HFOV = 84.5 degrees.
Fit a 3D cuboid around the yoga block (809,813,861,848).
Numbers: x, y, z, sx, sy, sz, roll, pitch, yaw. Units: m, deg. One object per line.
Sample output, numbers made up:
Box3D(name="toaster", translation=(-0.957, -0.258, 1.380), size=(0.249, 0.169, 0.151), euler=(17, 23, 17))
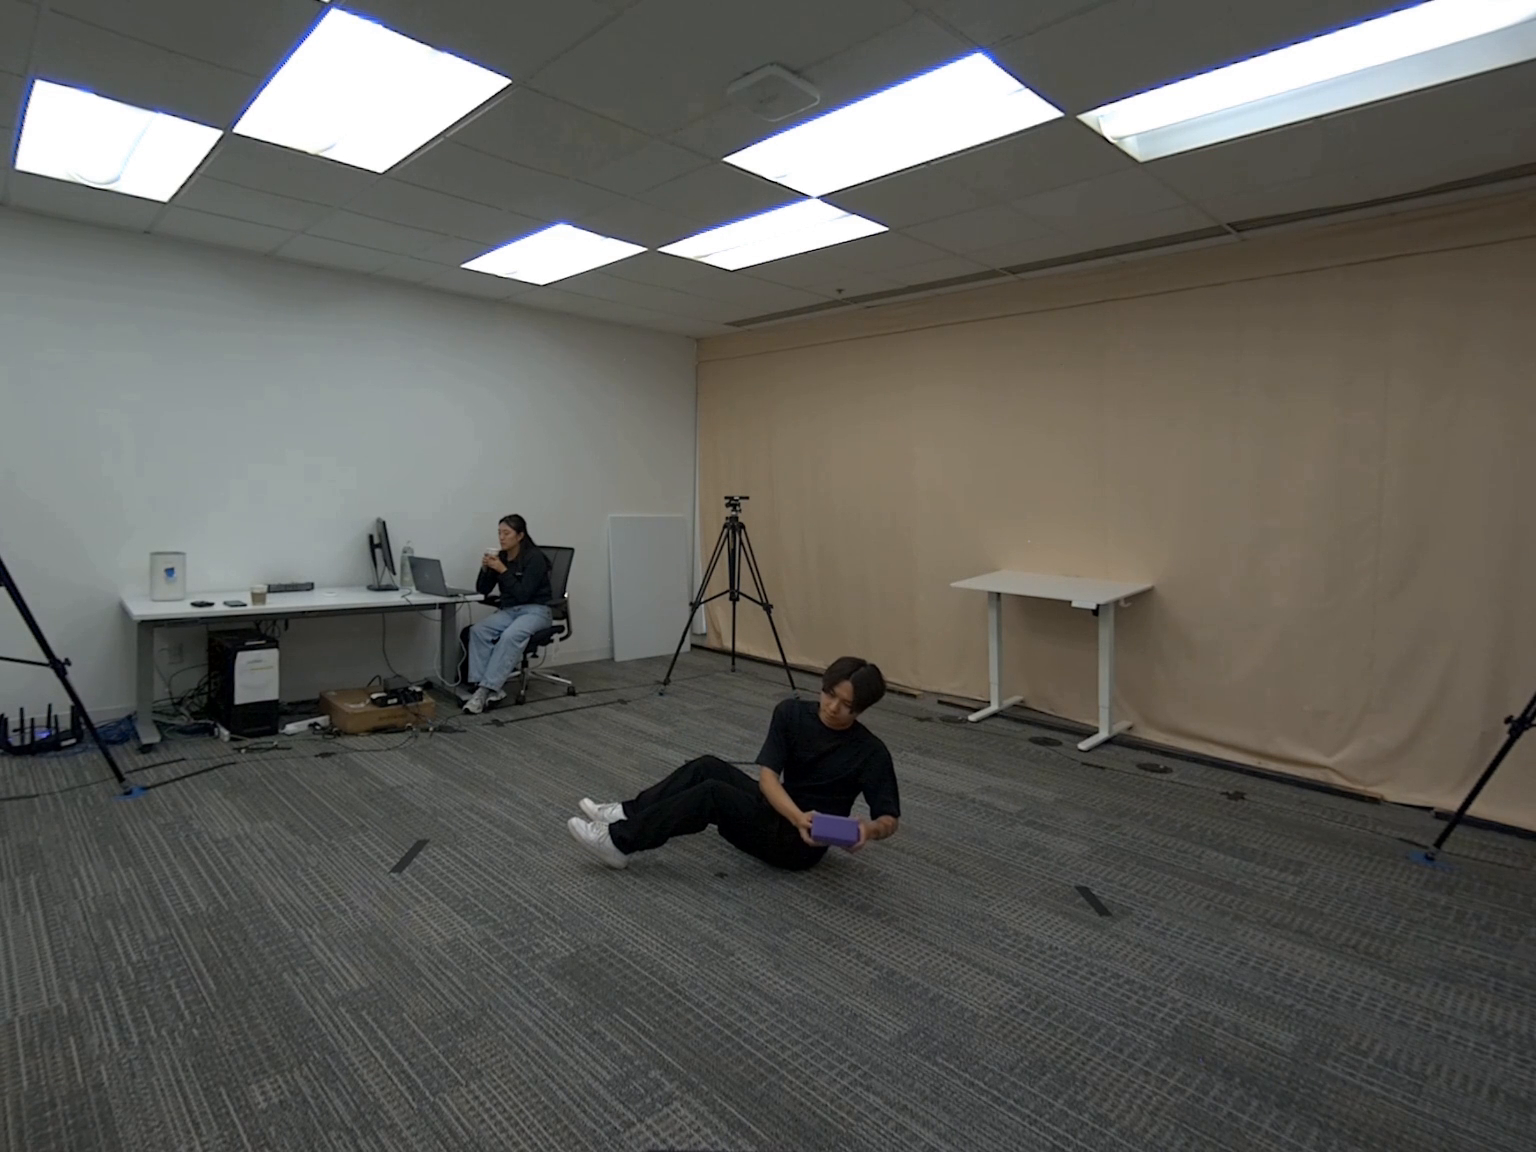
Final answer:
Box3D(name="yoga block", translation=(0.211, 0.854, 2.808), size=(0.150, 0.077, 0.225), euler=(6, -18, 5))
